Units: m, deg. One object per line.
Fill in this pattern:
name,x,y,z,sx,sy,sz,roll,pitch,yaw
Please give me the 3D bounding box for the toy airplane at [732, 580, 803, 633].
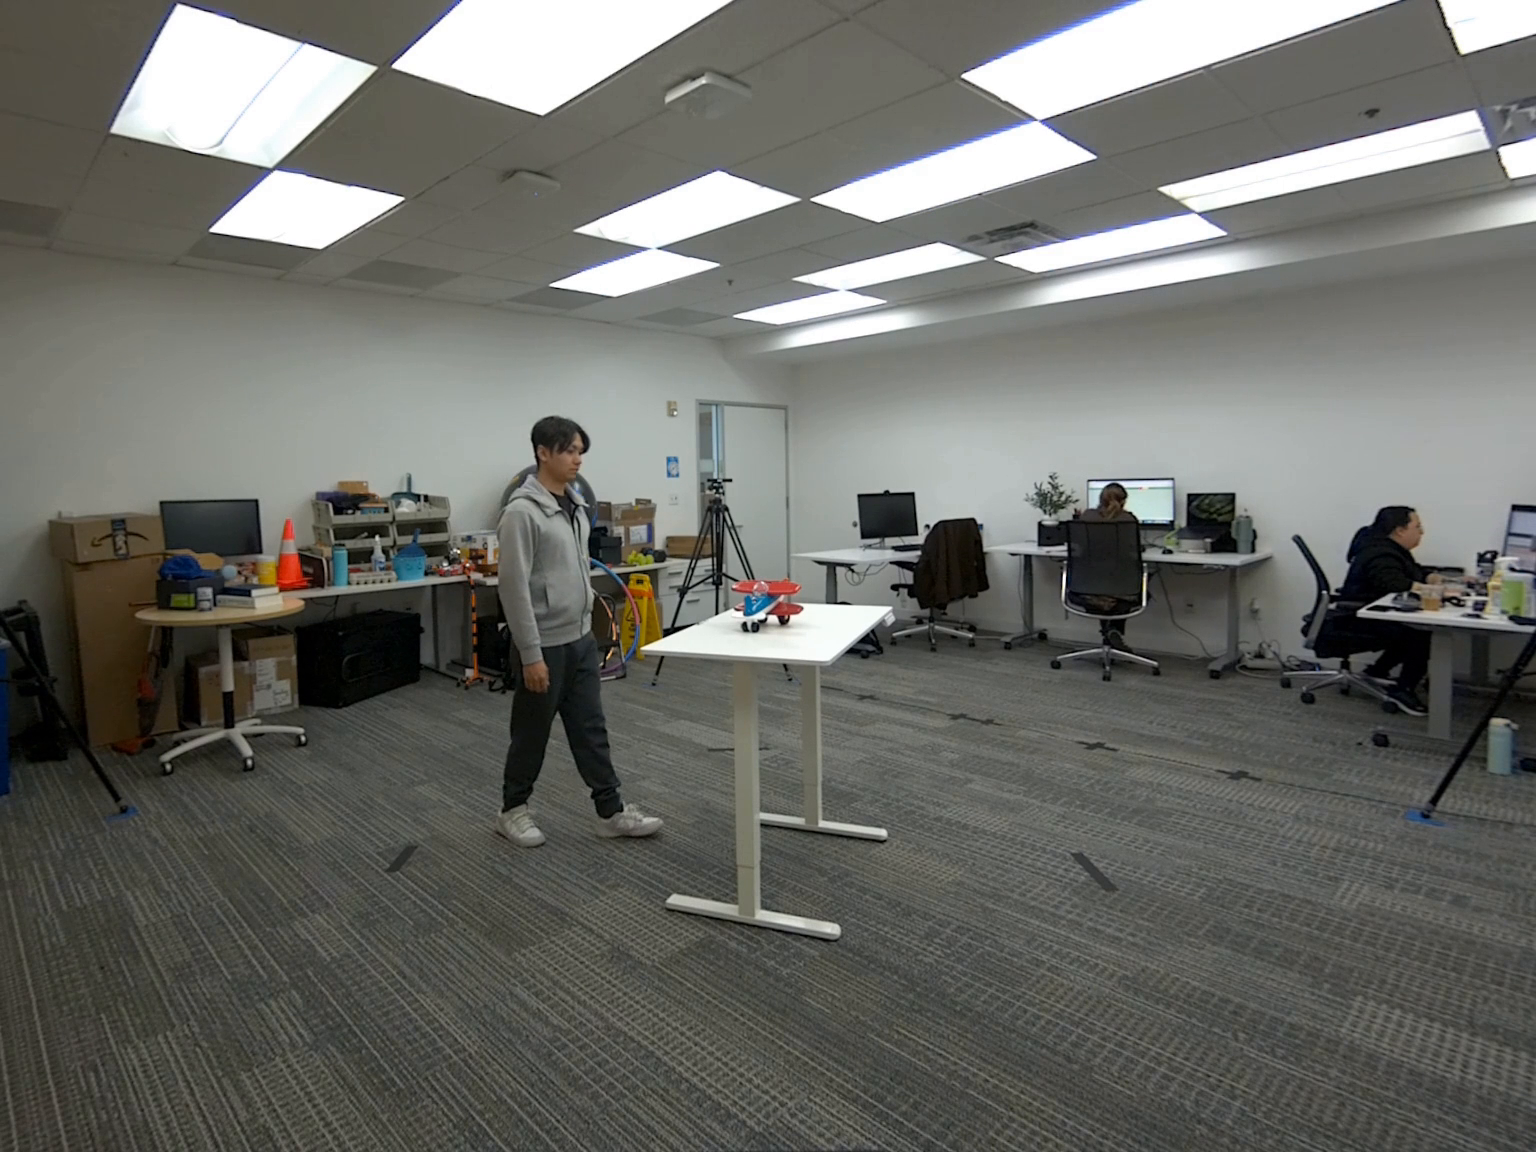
toy airplane,0.001,0.101,2.962,0.251,0.156,0.260,-2,5,-1
